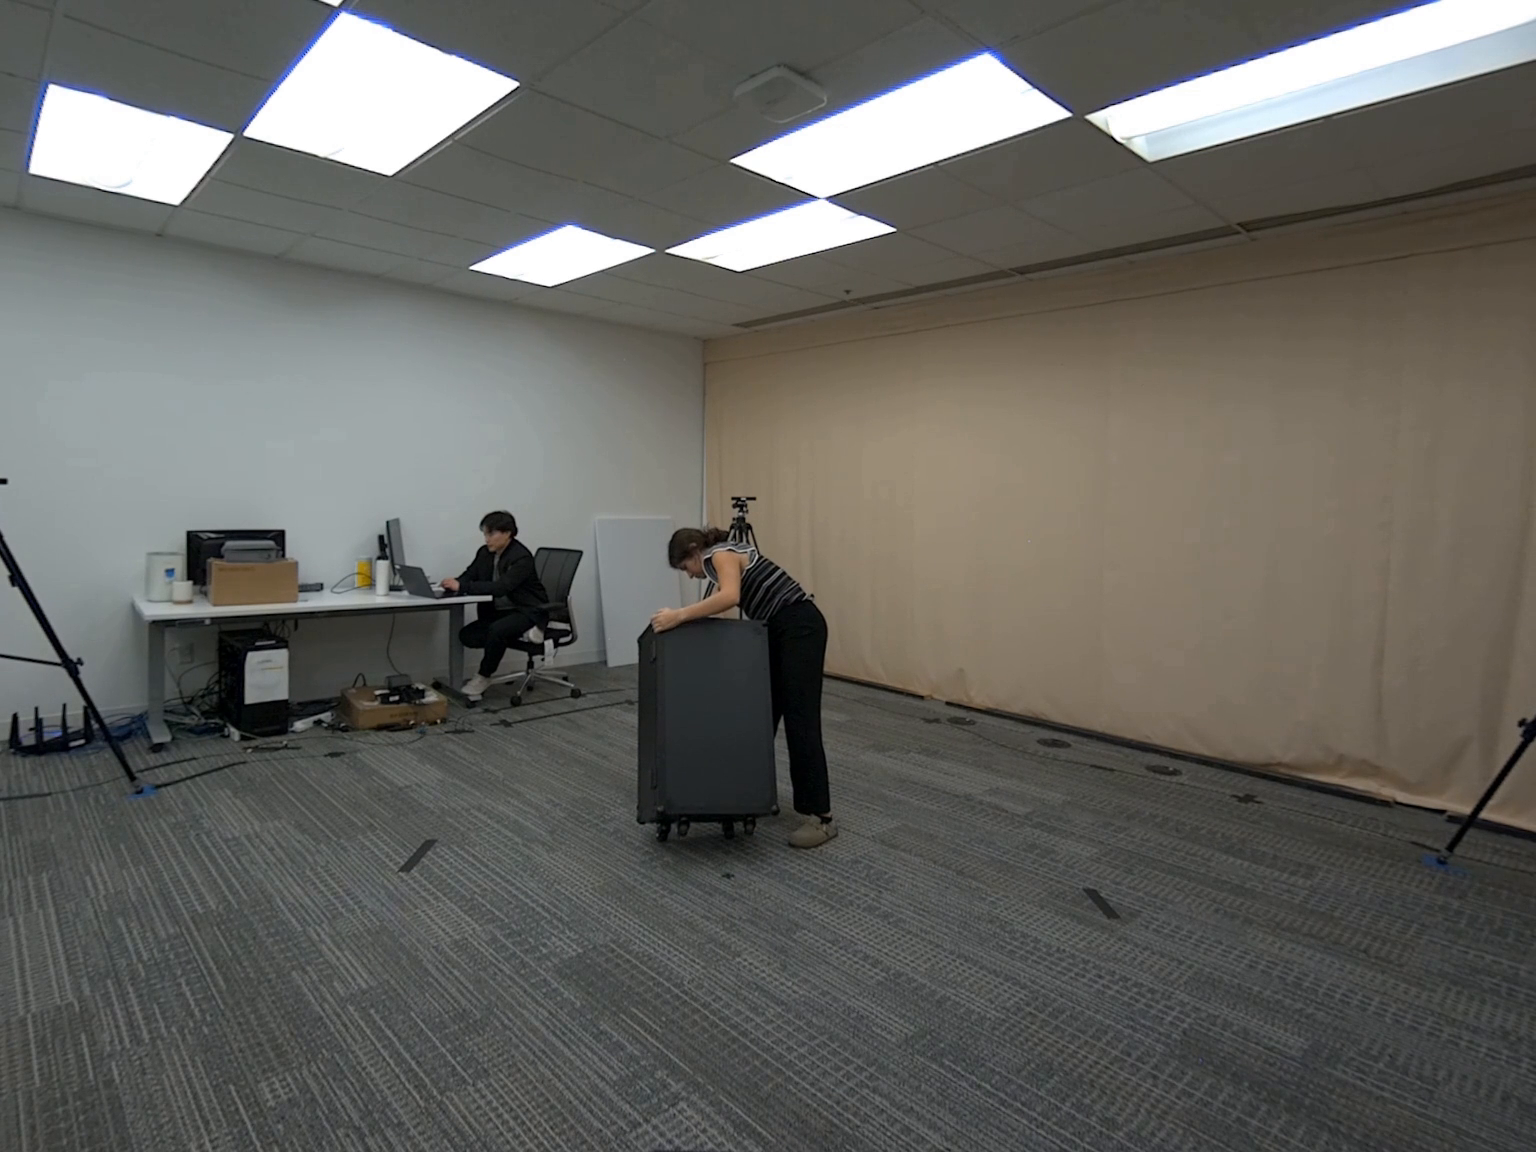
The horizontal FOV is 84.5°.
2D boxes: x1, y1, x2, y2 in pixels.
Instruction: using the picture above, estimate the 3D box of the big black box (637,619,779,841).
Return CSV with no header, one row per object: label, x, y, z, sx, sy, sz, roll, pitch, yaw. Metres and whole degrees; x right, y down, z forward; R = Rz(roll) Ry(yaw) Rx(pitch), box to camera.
big black box,-0.283,0.633,3.473,0.513,0.877,0.395,5,-25,-20
